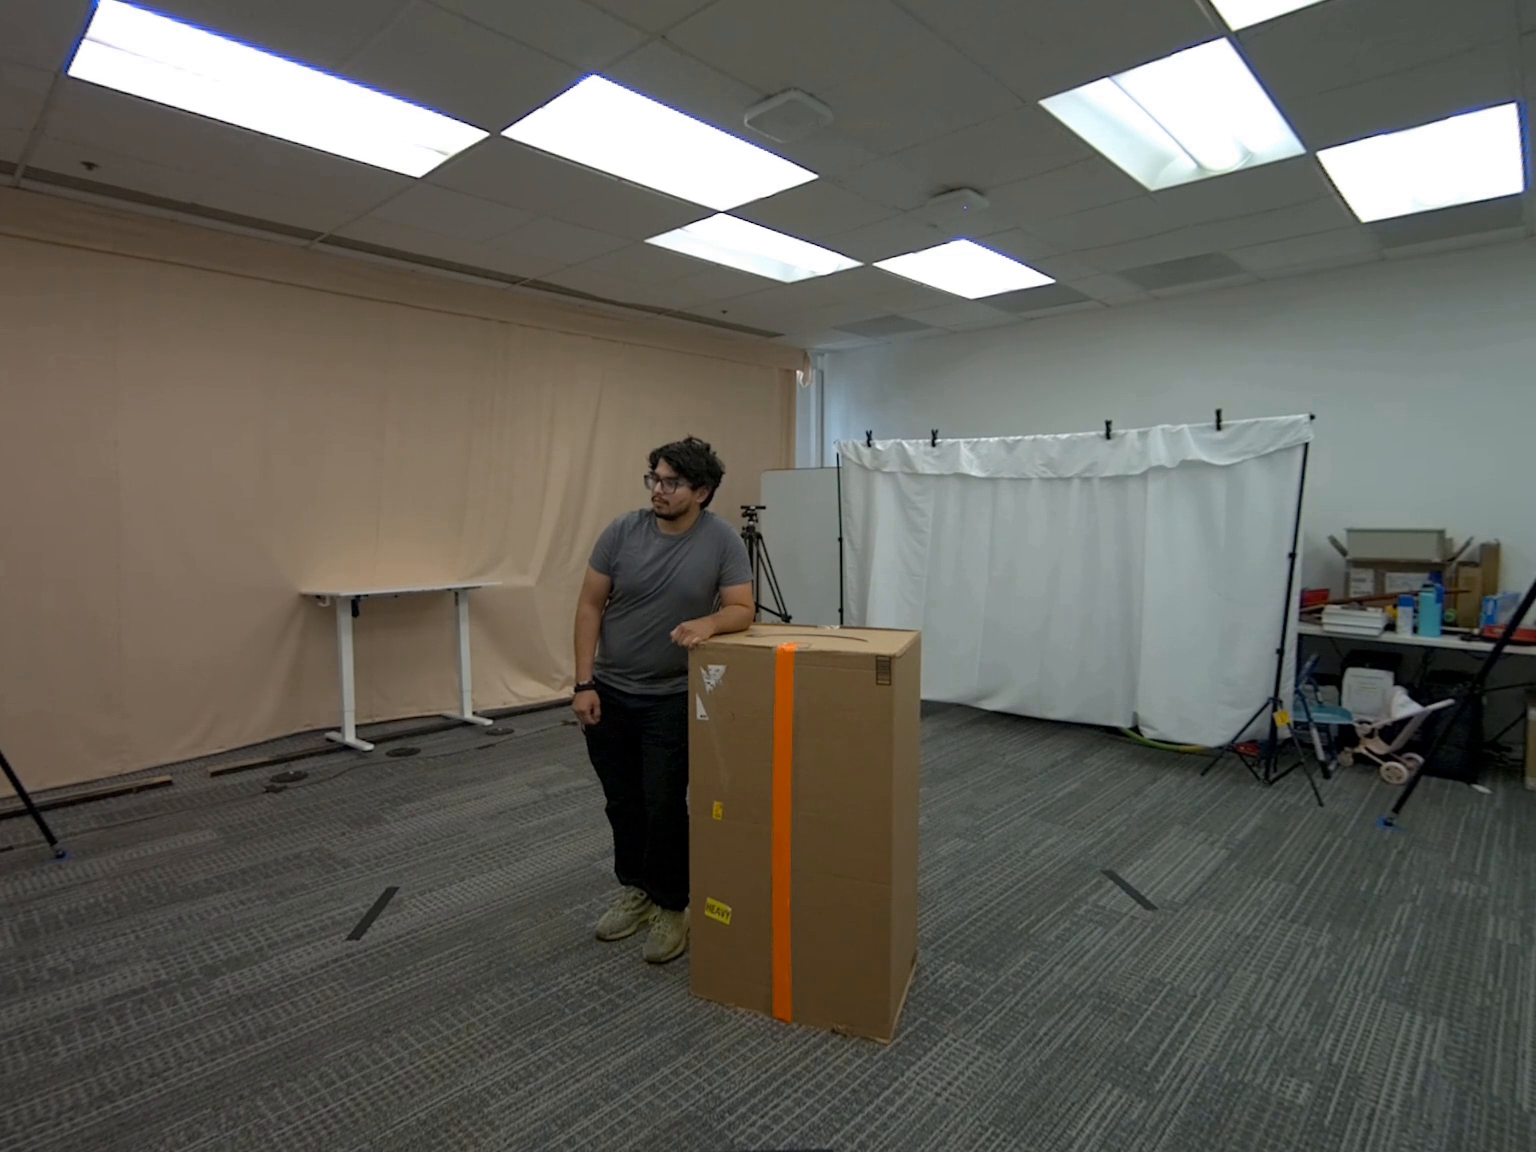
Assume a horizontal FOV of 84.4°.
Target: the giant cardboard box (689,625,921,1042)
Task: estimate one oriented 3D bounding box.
[{"bbox_3d":[0.126,0.682,2.441,0.591,1.024,0.417,2,3,23],"label":"giant cardboard box"}]
